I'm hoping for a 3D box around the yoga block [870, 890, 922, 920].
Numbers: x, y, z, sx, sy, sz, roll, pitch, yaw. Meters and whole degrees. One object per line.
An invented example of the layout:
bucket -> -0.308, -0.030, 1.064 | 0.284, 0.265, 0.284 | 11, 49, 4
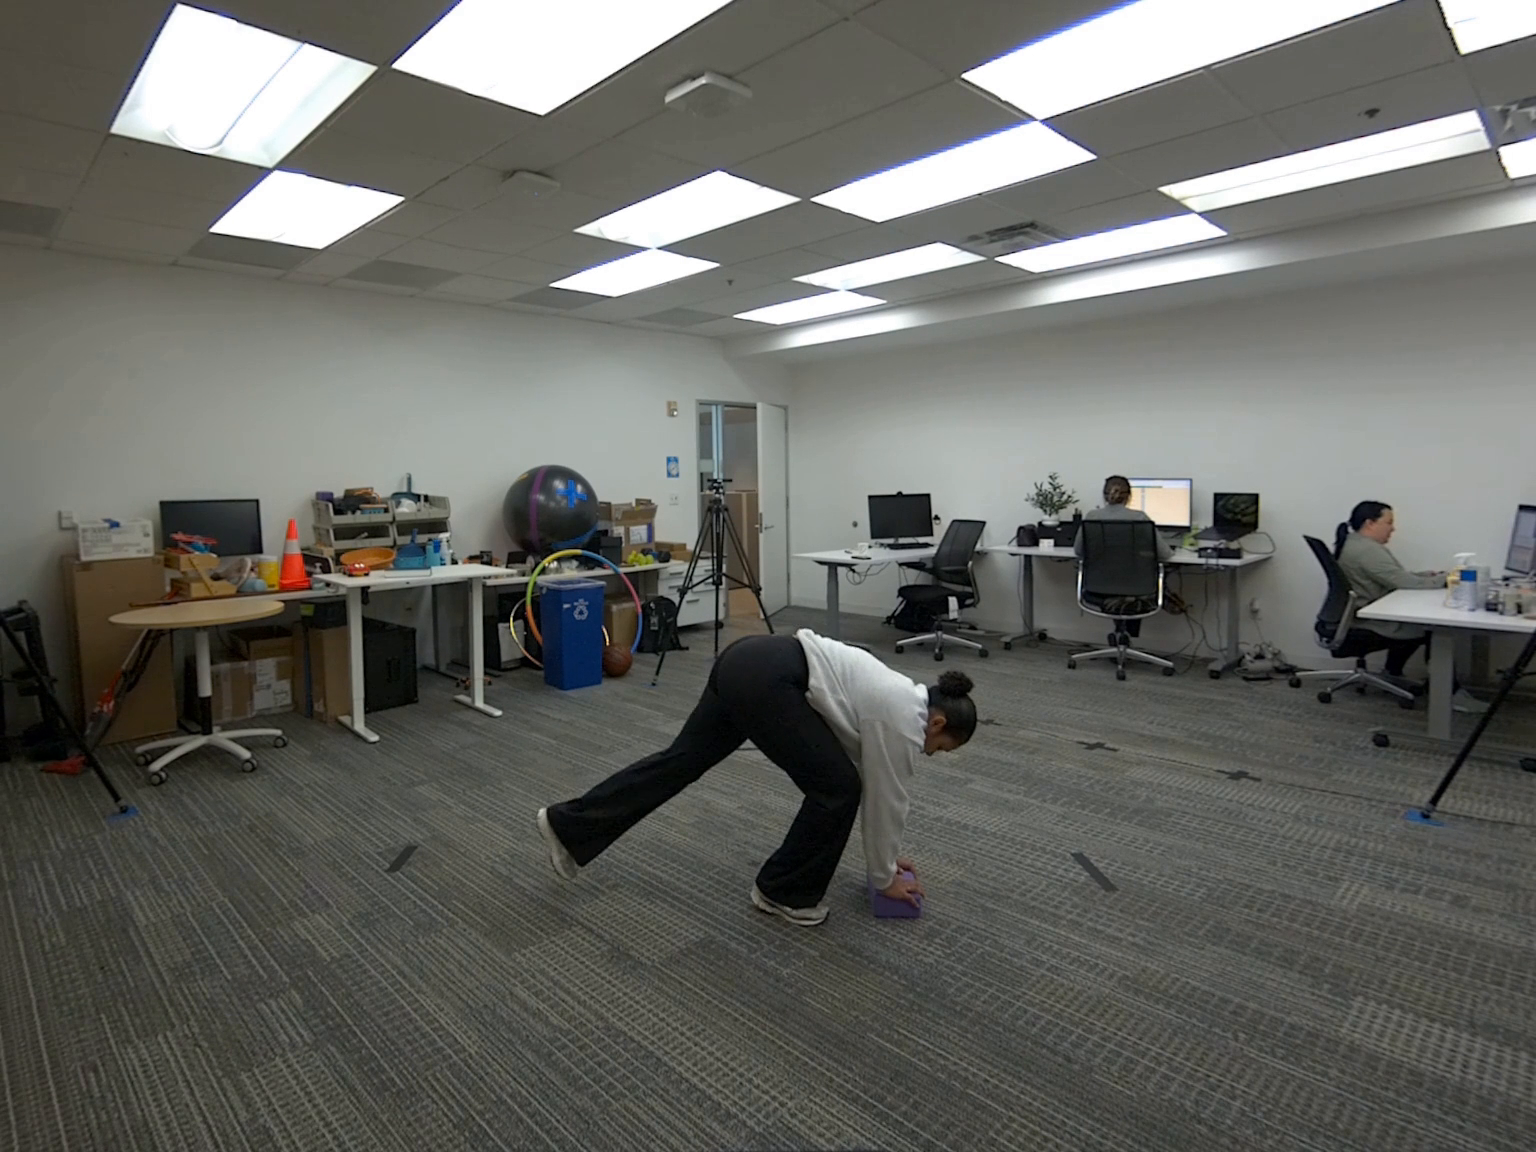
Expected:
yoga block -> 0.413, 1.033, 2.808 | 0.149, 0.076, 0.230 | -1, 5, 1
